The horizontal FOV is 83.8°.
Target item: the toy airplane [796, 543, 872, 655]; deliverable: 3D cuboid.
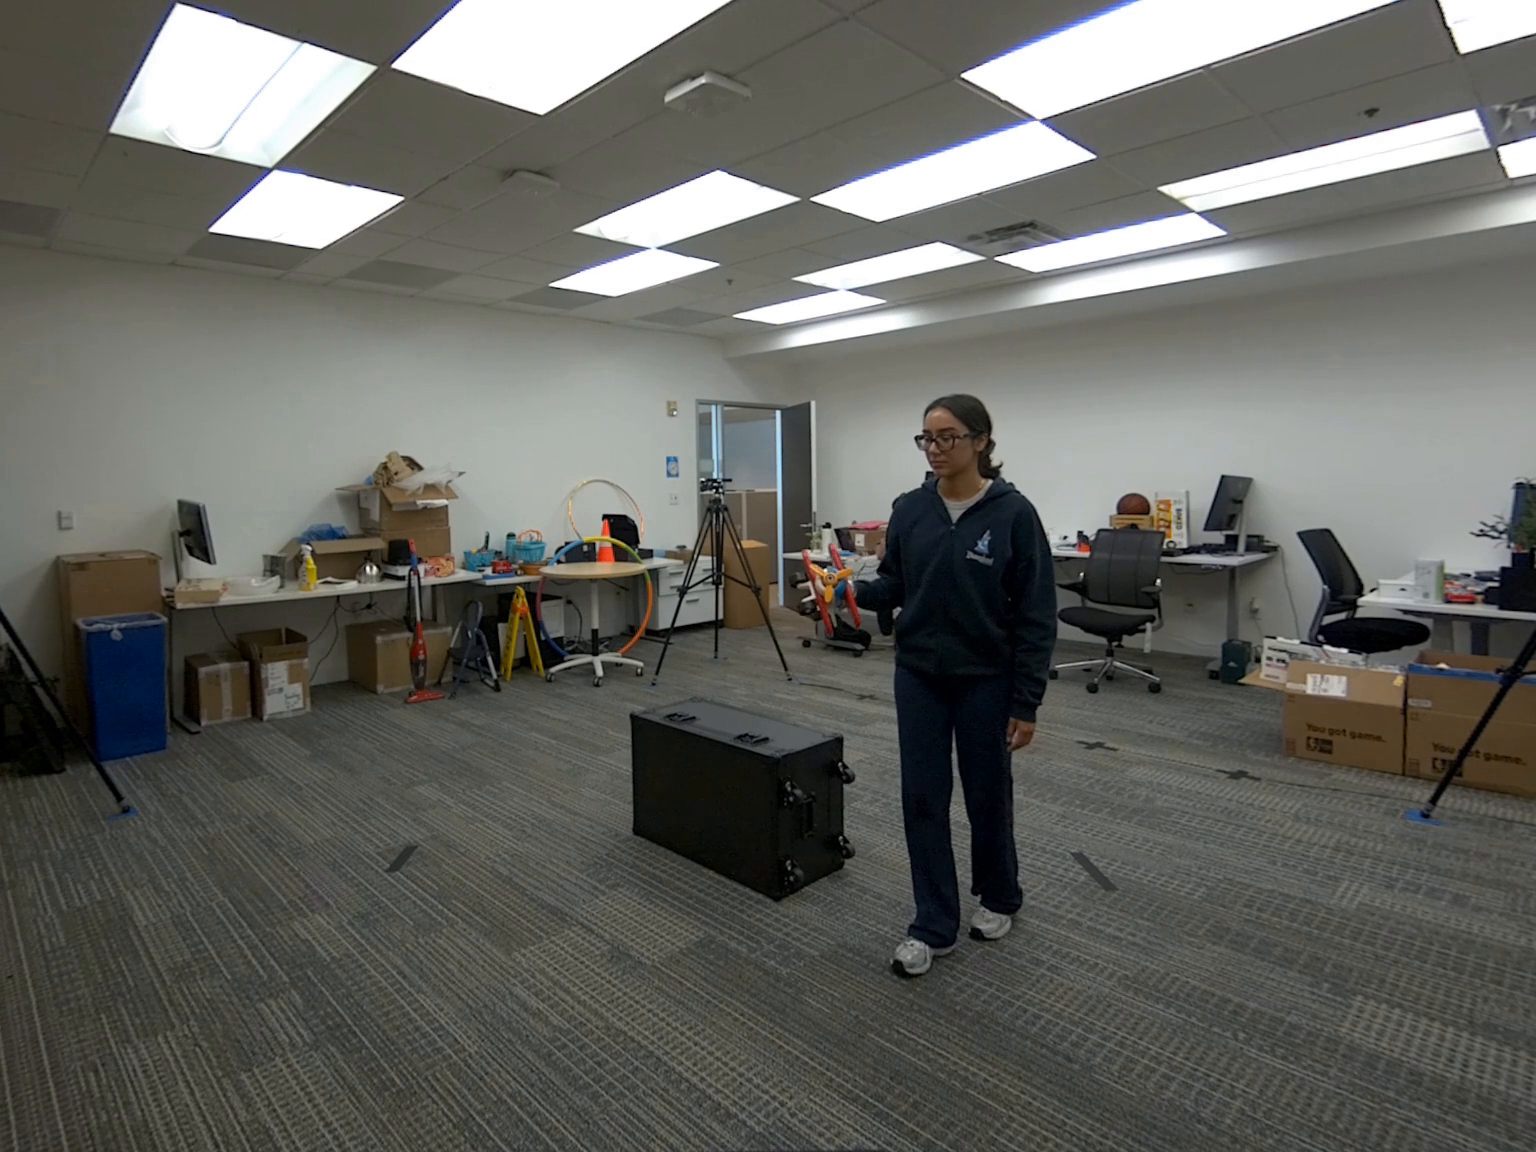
[{"bbox_3d":[0.167,0.039,2.424,0.157,0.251,0.258,-22,3,13],"label":"toy airplane"}]
